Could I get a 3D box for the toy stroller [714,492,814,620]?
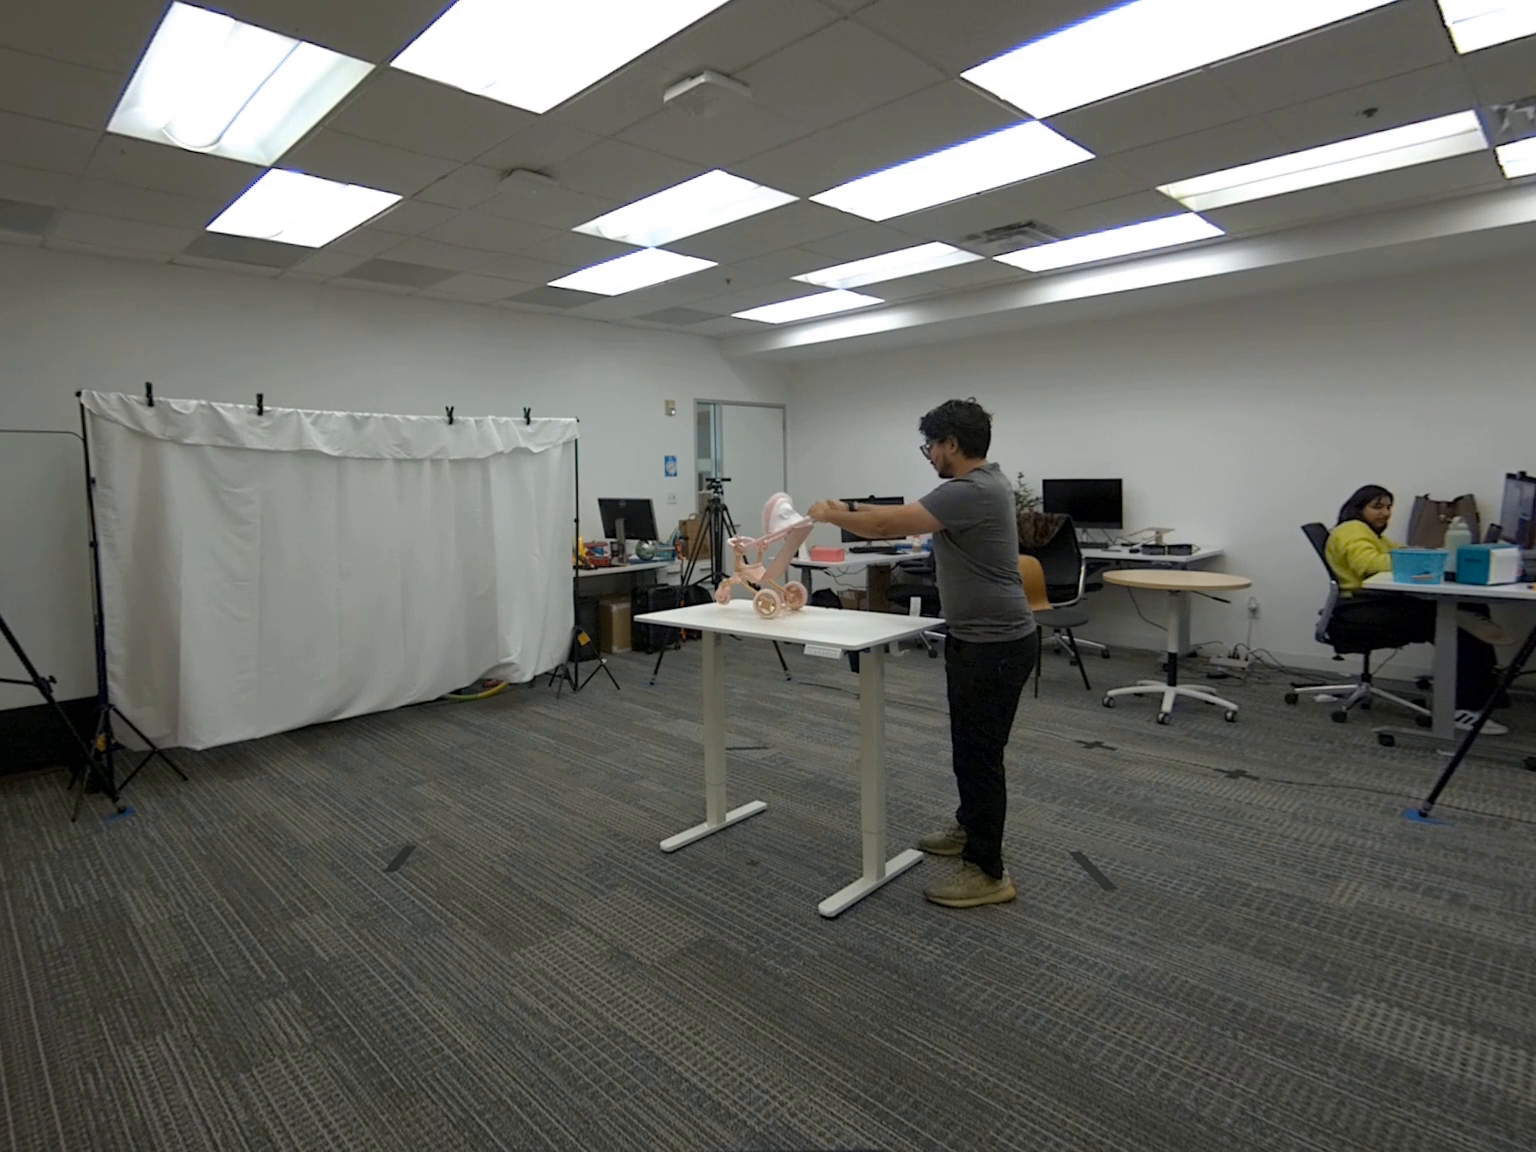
[{"bbox_3d":[0.020,-0.080,3.228,0.352,0.530,0.275,26,17,28],"label":"toy stroller"}]
